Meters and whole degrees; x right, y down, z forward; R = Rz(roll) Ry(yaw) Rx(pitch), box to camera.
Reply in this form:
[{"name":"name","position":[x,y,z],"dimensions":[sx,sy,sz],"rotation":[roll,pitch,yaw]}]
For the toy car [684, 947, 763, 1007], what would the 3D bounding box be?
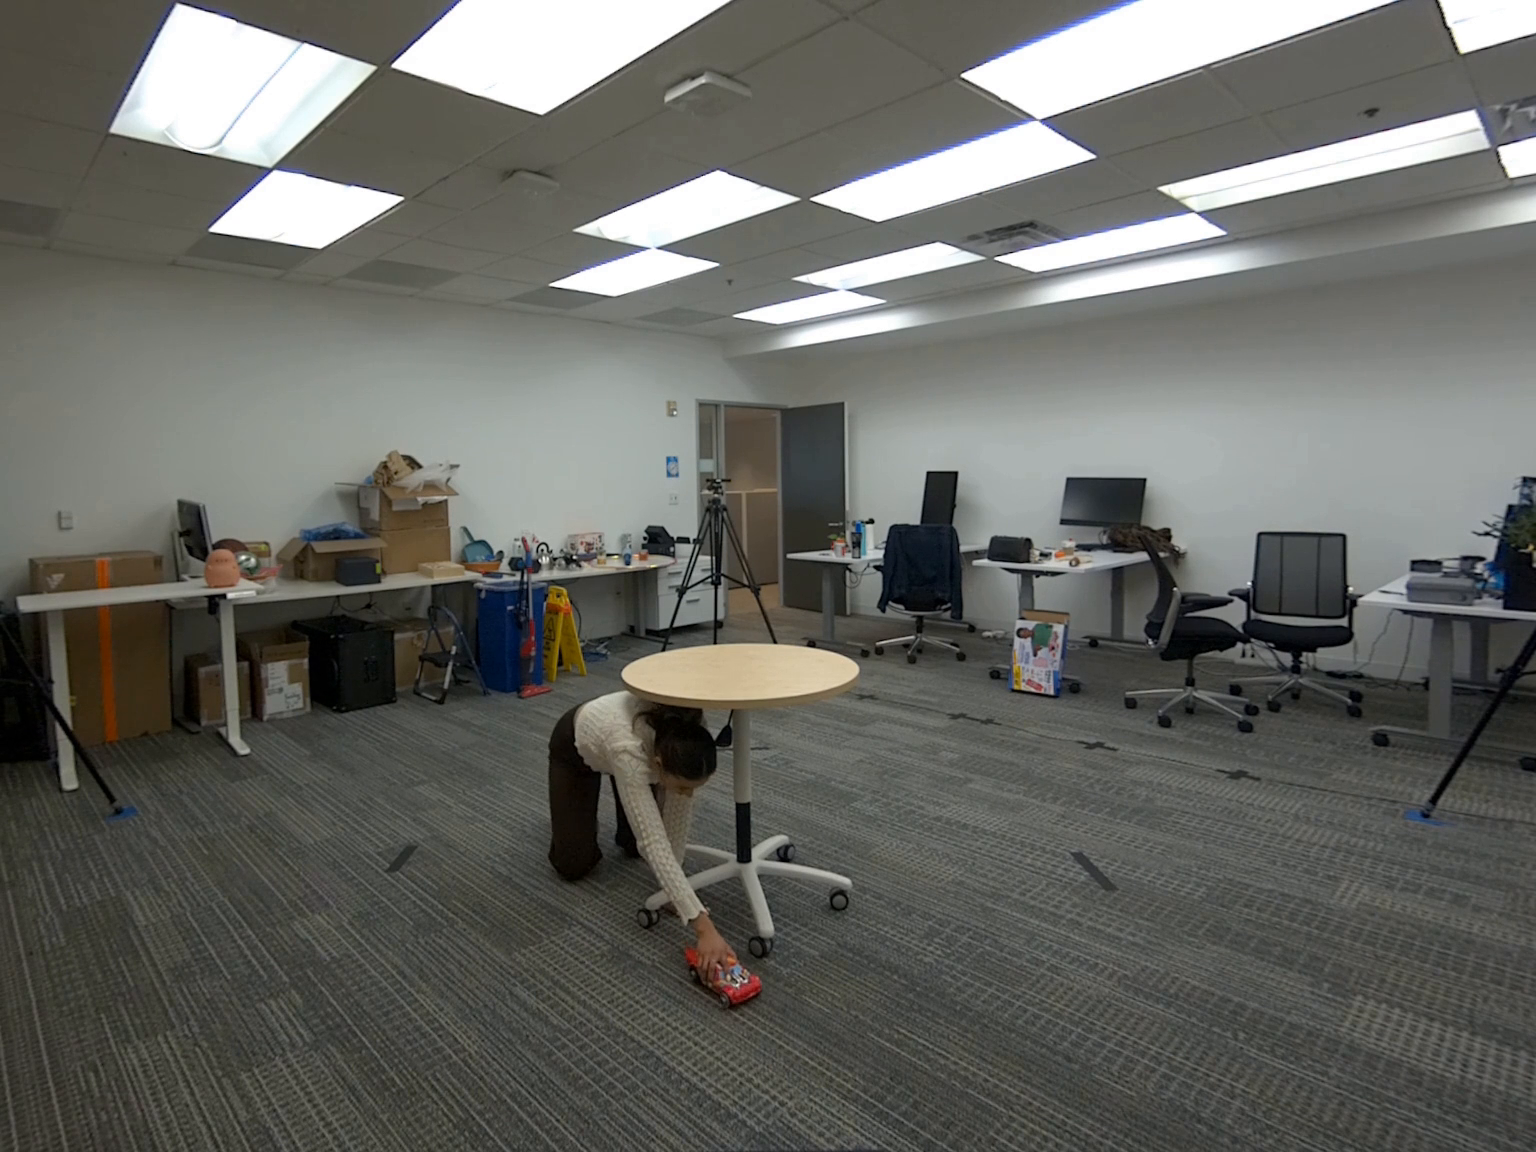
[{"name":"toy car","position":[-0.137,1.102,2.375],"dimensions":[0.127,0.082,0.264],"rotation":[-8,19,-36]}]
